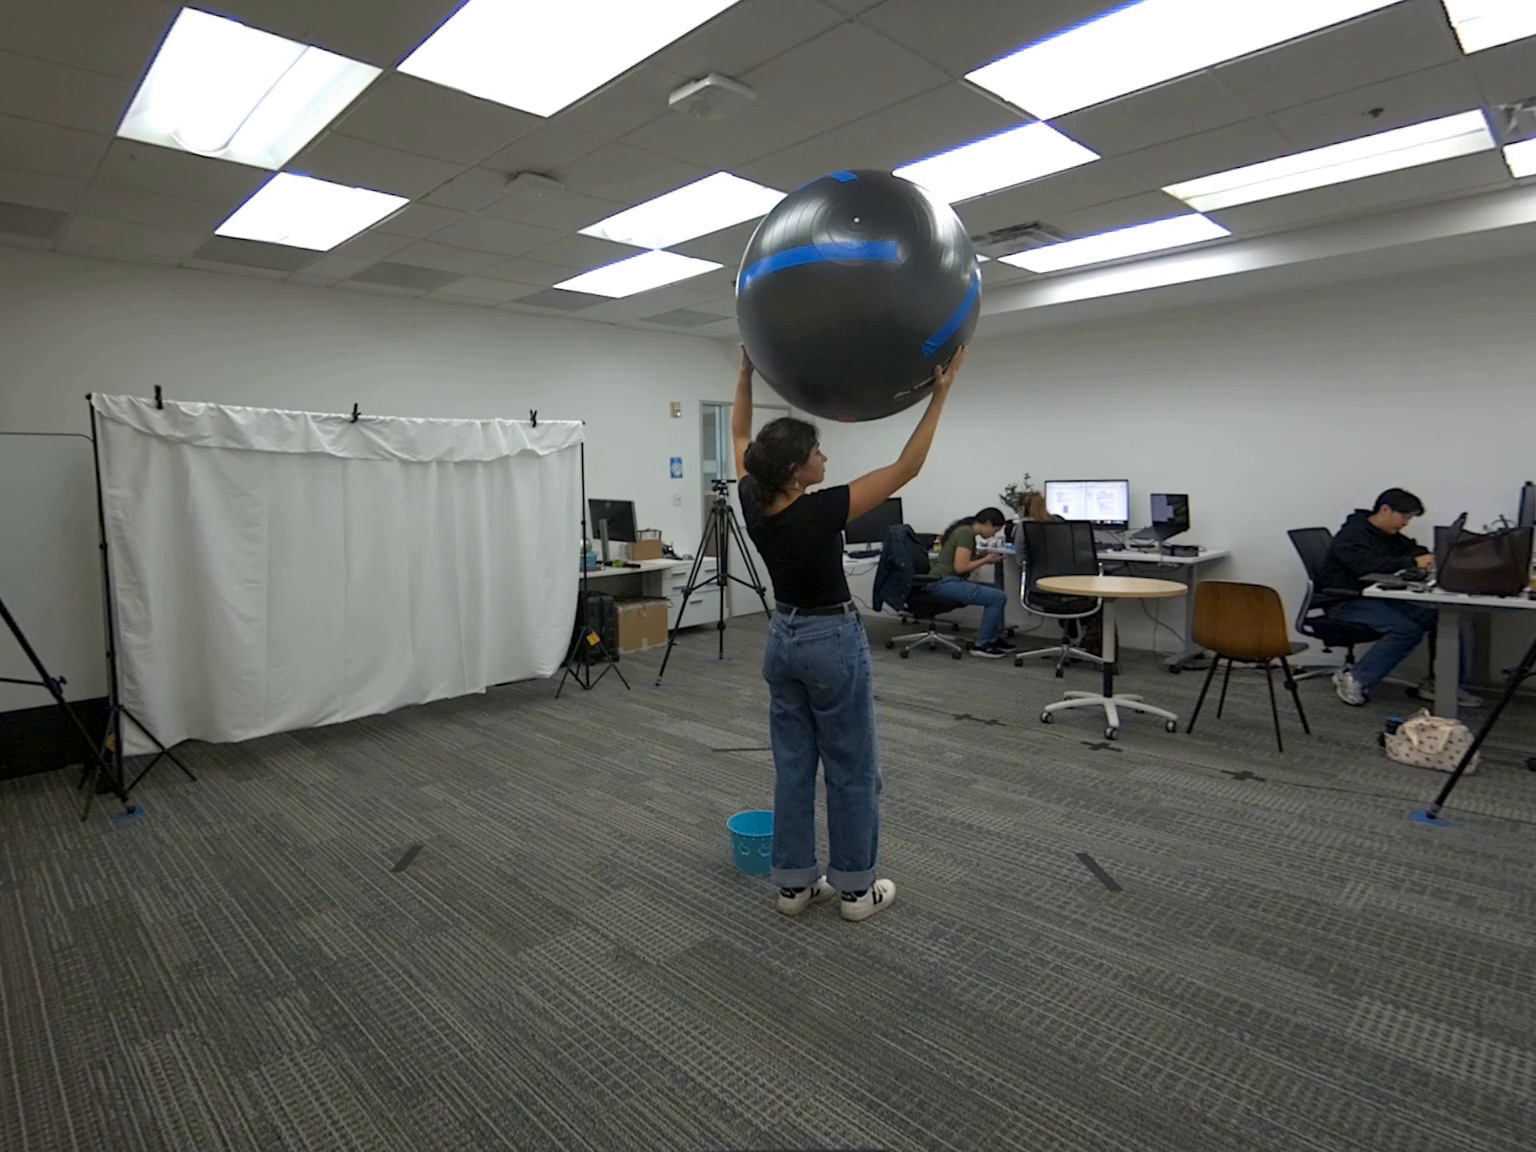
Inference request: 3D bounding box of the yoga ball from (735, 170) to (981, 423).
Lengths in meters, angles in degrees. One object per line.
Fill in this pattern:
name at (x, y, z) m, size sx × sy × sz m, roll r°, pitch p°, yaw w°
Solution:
yoga ball at (0.274, -0.863, 2.684) m, size 0.757 × 0.755 × 0.762 m, roll -1°, pitch 5°, yaw -2°
